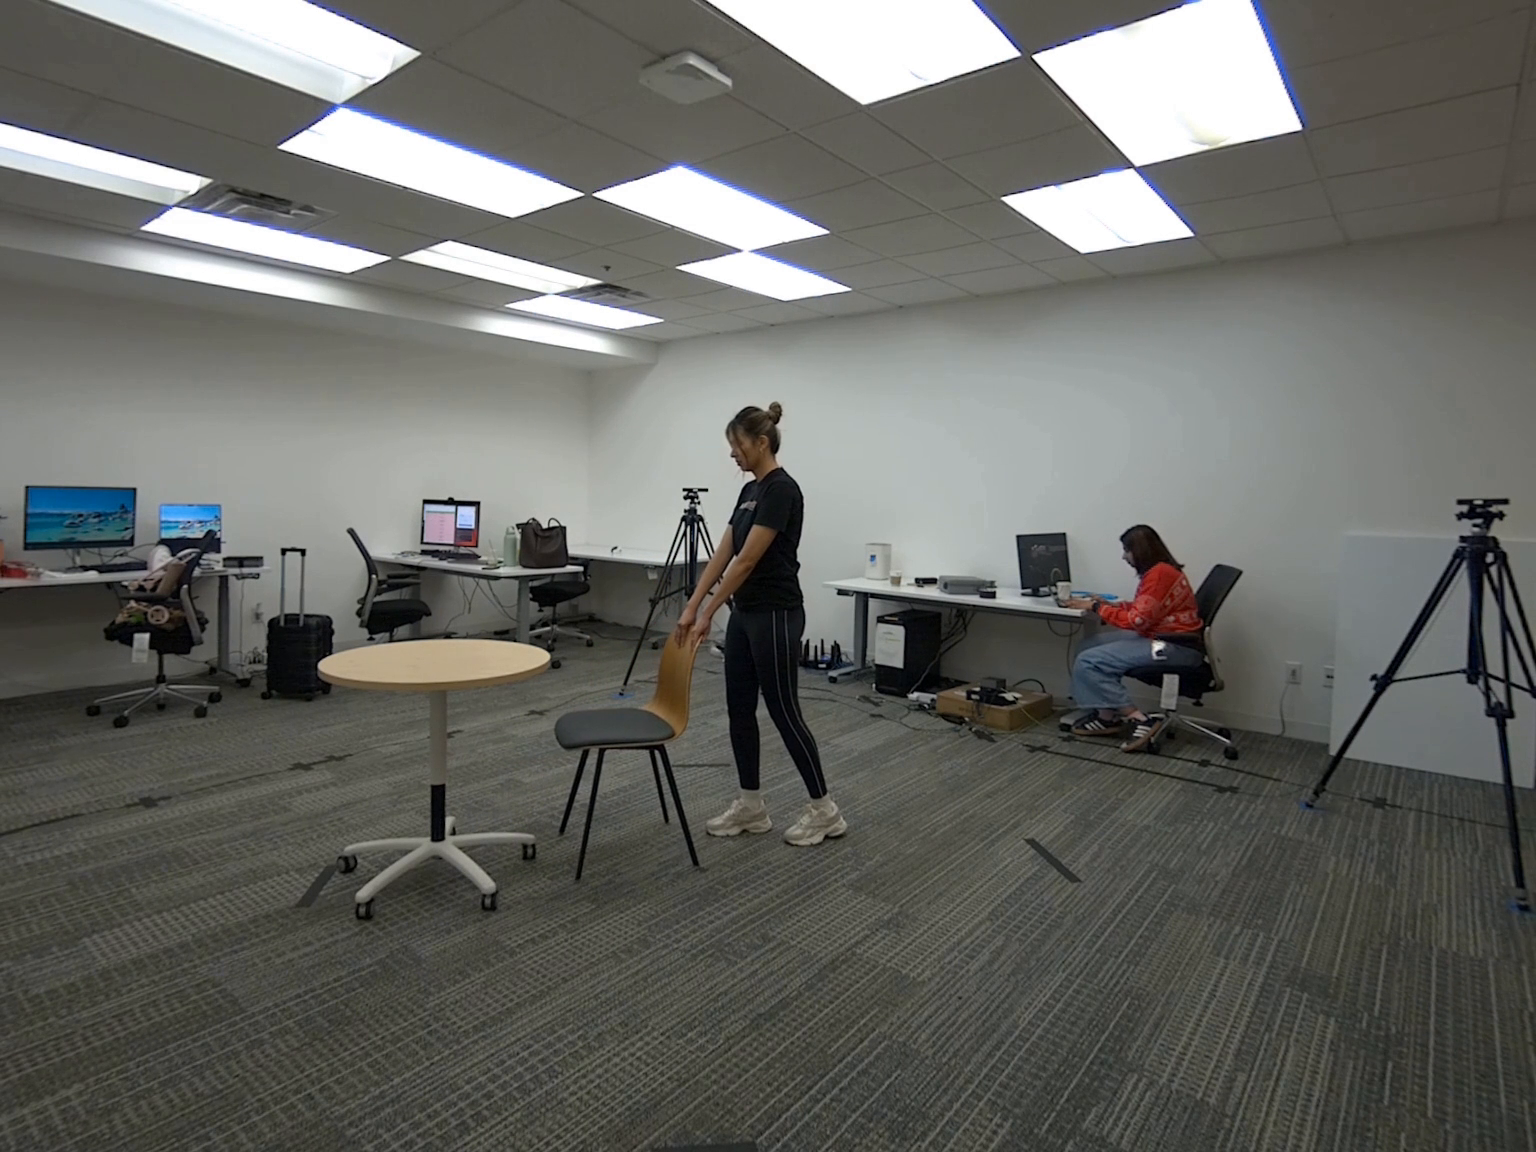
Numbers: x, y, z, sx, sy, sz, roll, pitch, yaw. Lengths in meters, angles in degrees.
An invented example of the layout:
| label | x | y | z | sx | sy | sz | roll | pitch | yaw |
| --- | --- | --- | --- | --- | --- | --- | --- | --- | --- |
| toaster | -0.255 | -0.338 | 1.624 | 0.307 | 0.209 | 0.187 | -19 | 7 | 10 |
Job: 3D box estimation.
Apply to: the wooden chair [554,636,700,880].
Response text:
| label | x | y | z | sx | sy | sz | roll | pitch | yaw |
| --- | --- | --- | --- | --- | --- | --- | --- | --- | --- |
| wooden chair | -0.555 | 0.627 | 3.238 | 0.512 | 0.876 | 0.489 | 5 | 2 | -20 |
